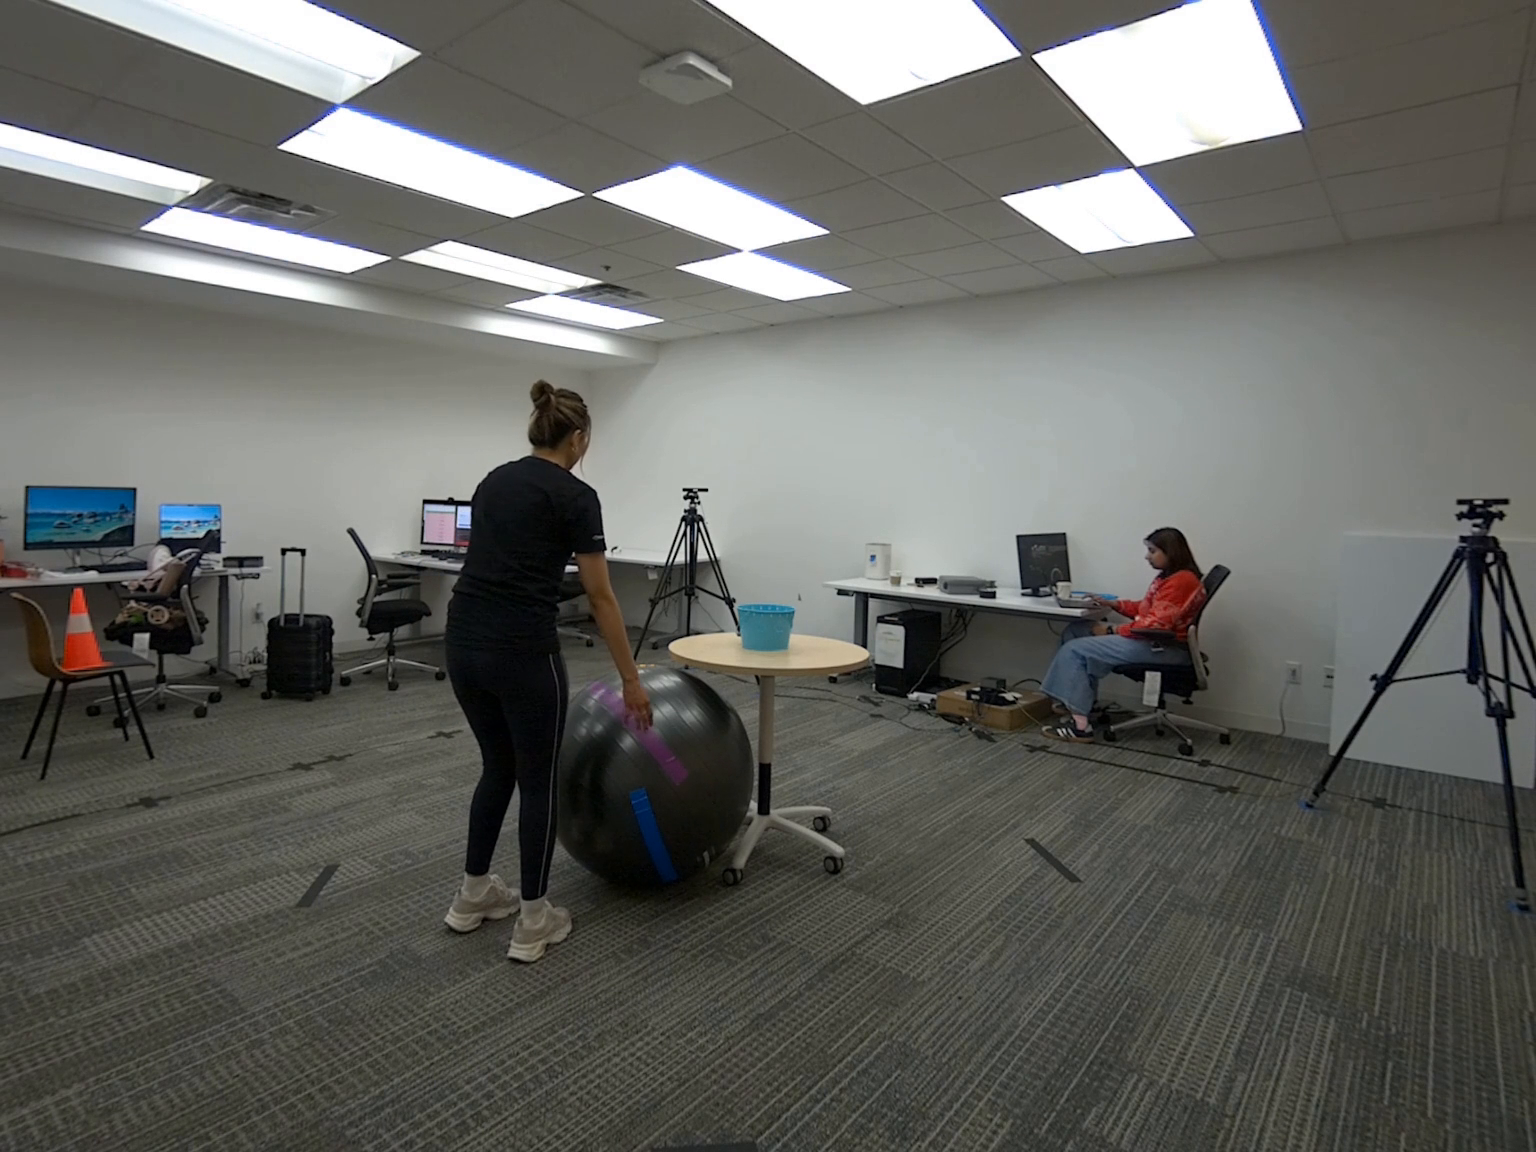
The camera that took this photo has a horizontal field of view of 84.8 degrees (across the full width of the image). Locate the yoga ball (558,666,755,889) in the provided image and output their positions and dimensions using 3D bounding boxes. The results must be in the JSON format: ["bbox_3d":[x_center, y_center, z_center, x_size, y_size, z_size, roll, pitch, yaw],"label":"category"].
[{"bbox_3d":[-0.439,0.699,3.036,0.757,0.756,0.762,1,4,-2],"label":"yoga ball"}]
